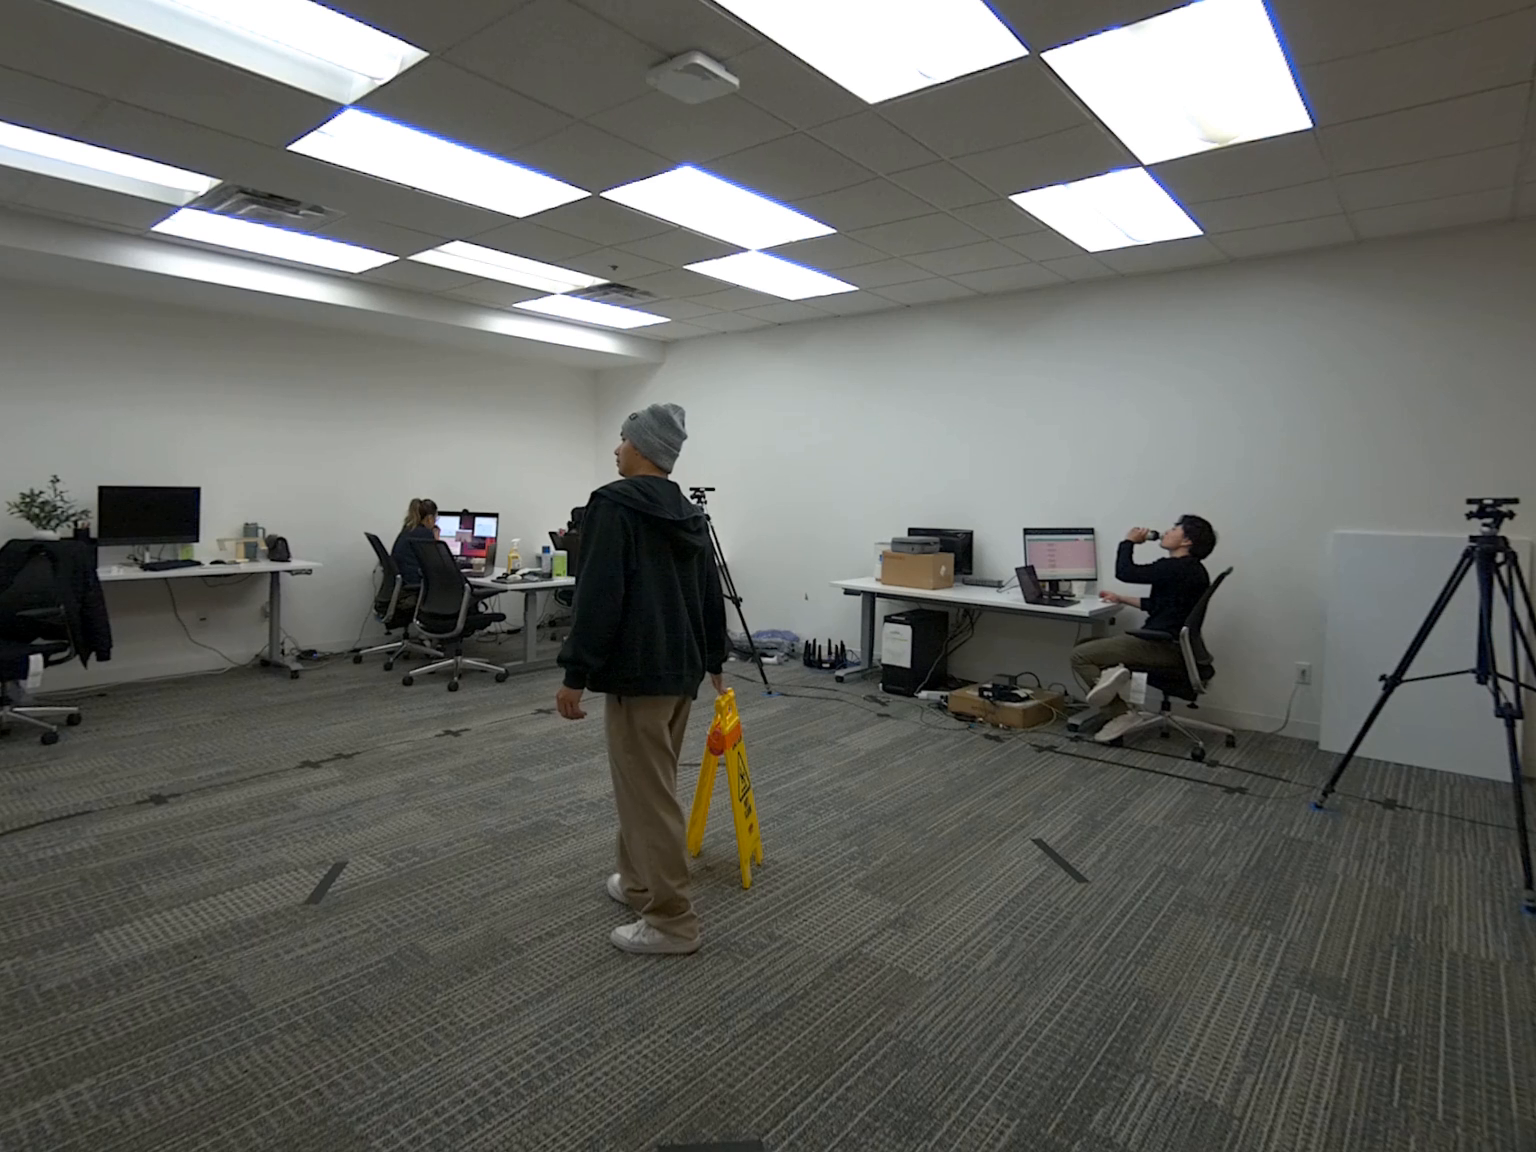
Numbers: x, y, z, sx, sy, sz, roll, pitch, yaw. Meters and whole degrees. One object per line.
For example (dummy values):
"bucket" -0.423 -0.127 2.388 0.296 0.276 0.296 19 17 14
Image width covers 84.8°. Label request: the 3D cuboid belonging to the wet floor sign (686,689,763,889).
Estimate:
"wet floor sign" -0.168 0.744 3.093 0.293 0.643 0.280 2 5 11
